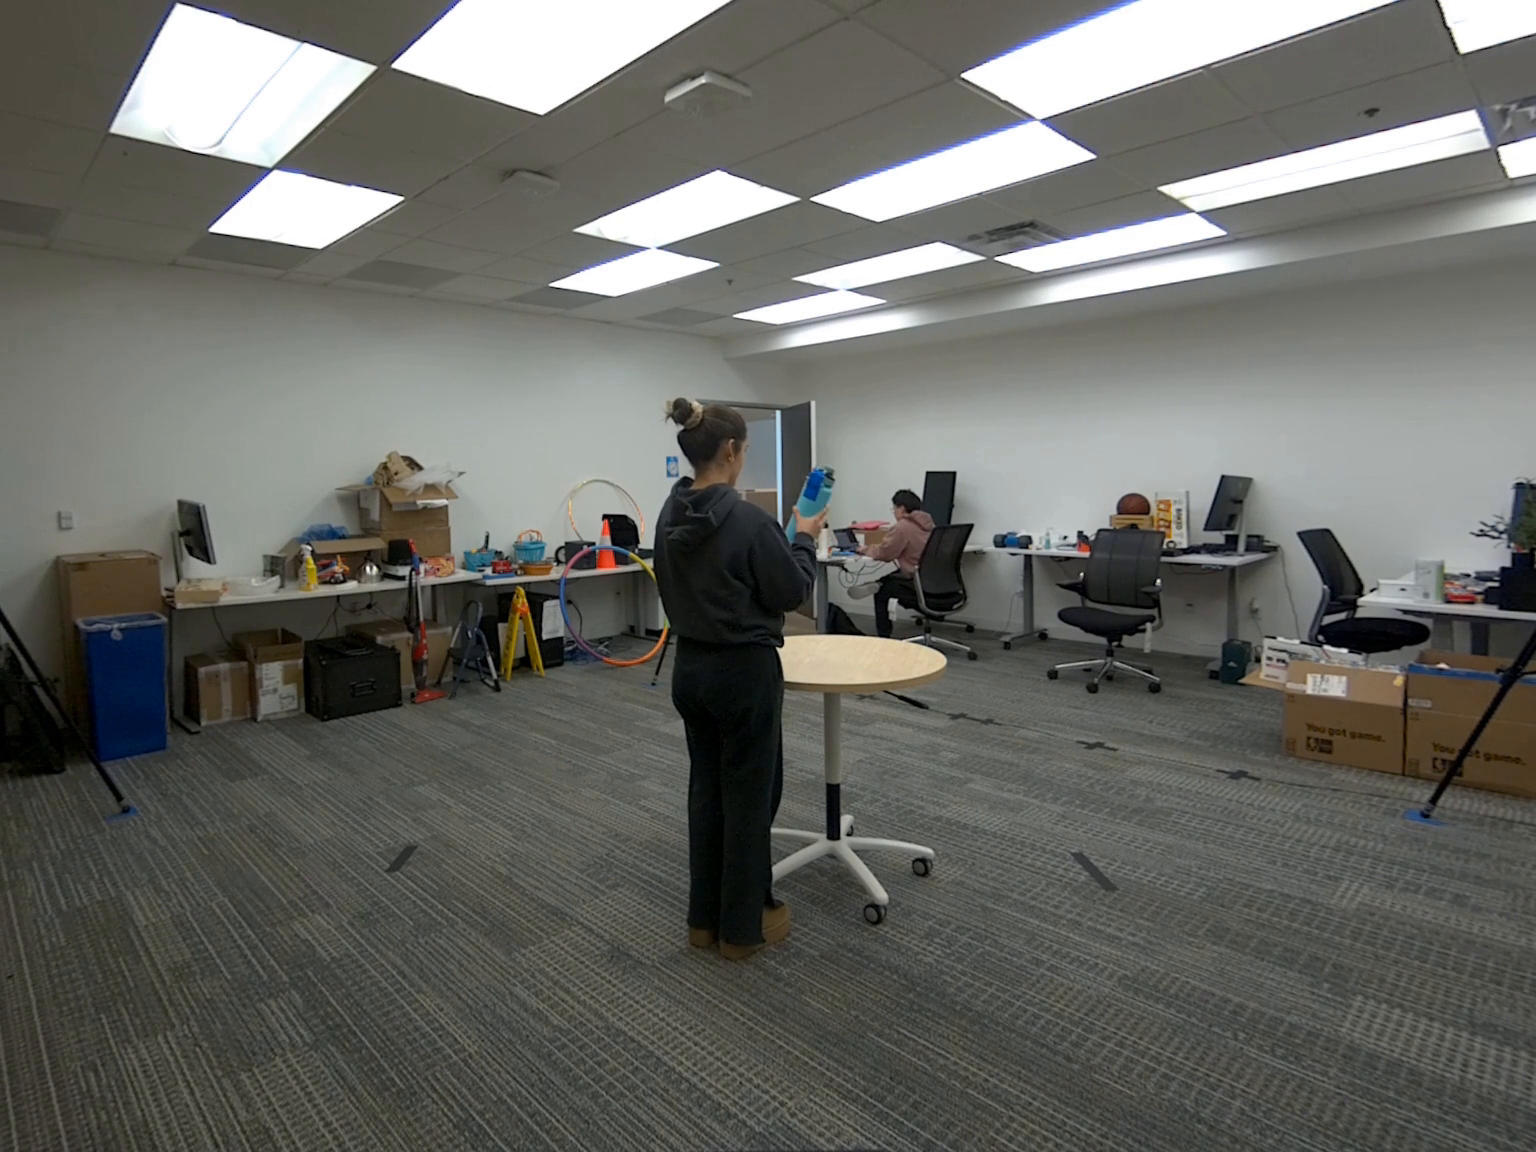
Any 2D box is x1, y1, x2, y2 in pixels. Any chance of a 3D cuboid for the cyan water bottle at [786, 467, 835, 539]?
[{"bbox_3d":[0.126,-0.193,2.669,0.092,0.281,0.093,20,12,-7],"label":"cyan water bottle"}]
